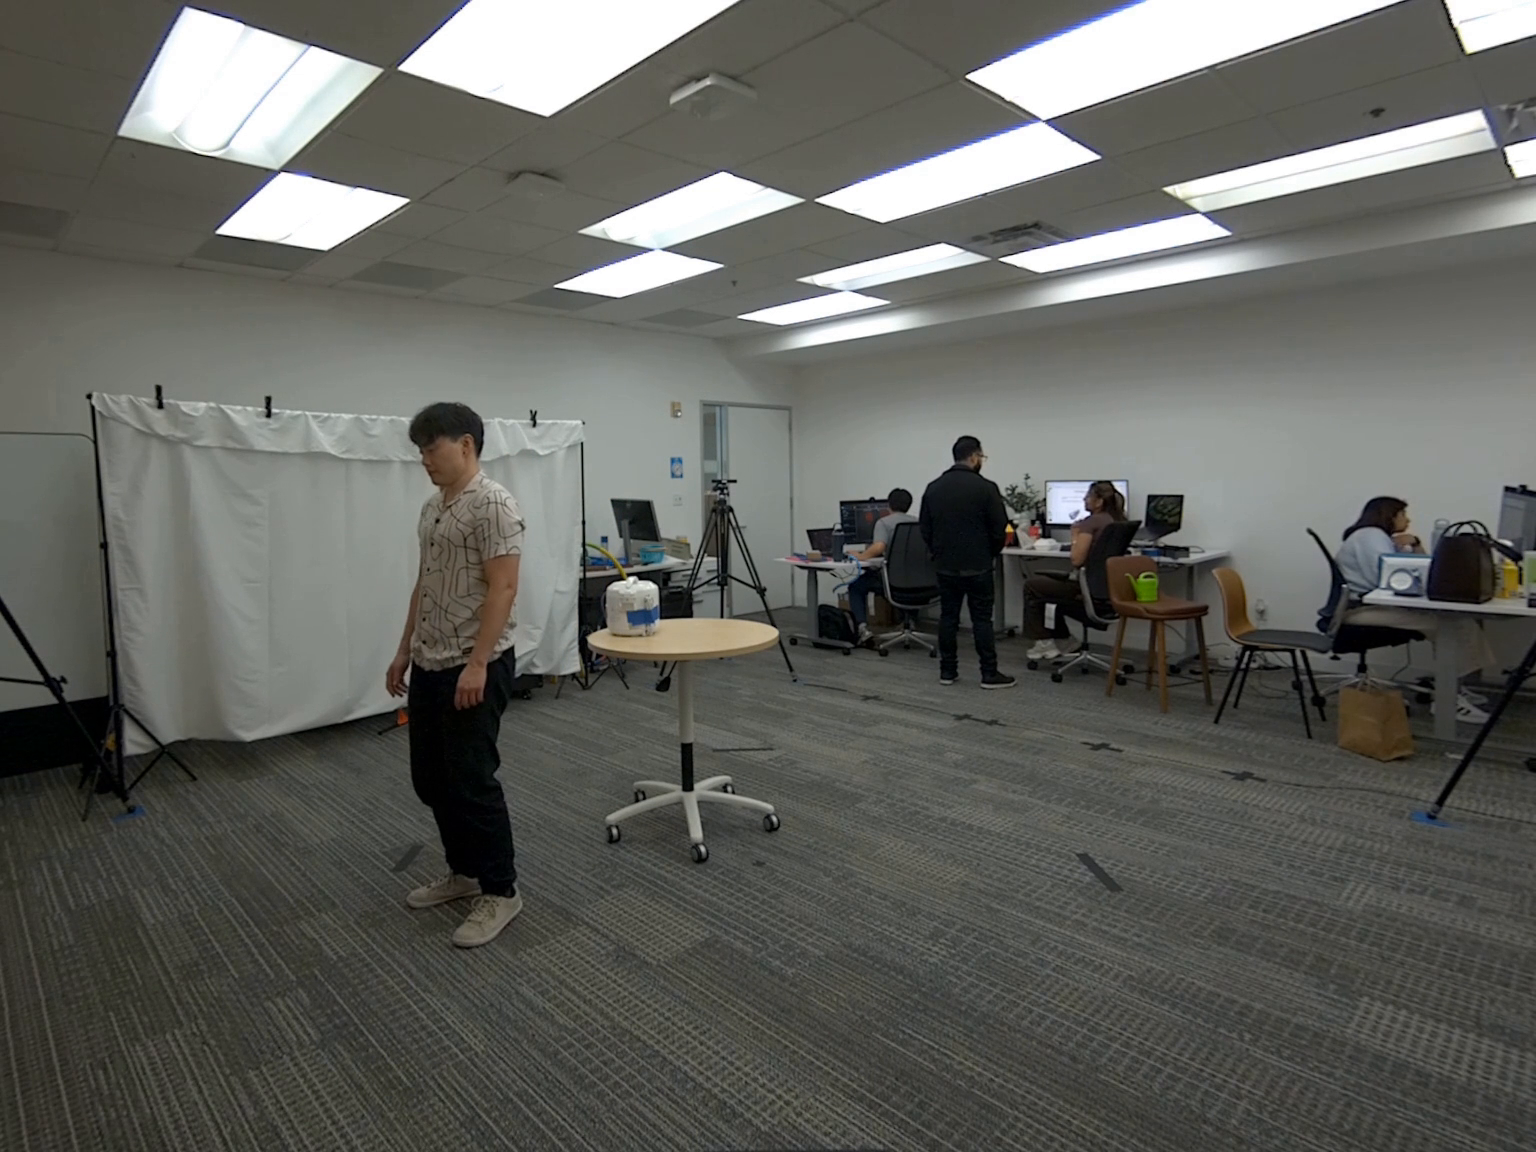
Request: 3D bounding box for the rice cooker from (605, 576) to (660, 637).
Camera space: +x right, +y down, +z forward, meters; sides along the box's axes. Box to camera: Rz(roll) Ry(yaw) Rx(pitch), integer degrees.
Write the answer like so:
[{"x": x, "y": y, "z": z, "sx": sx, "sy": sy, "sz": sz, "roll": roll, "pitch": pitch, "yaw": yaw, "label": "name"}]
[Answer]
[{"x": -0.552, "y": 0.118, "z": 3.488, "sx": 0.218, "sy": 0.232, "sz": 0.220, "roll": -1, "pitch": 5, "yaw": 4, "label": "rice cooker"}]
